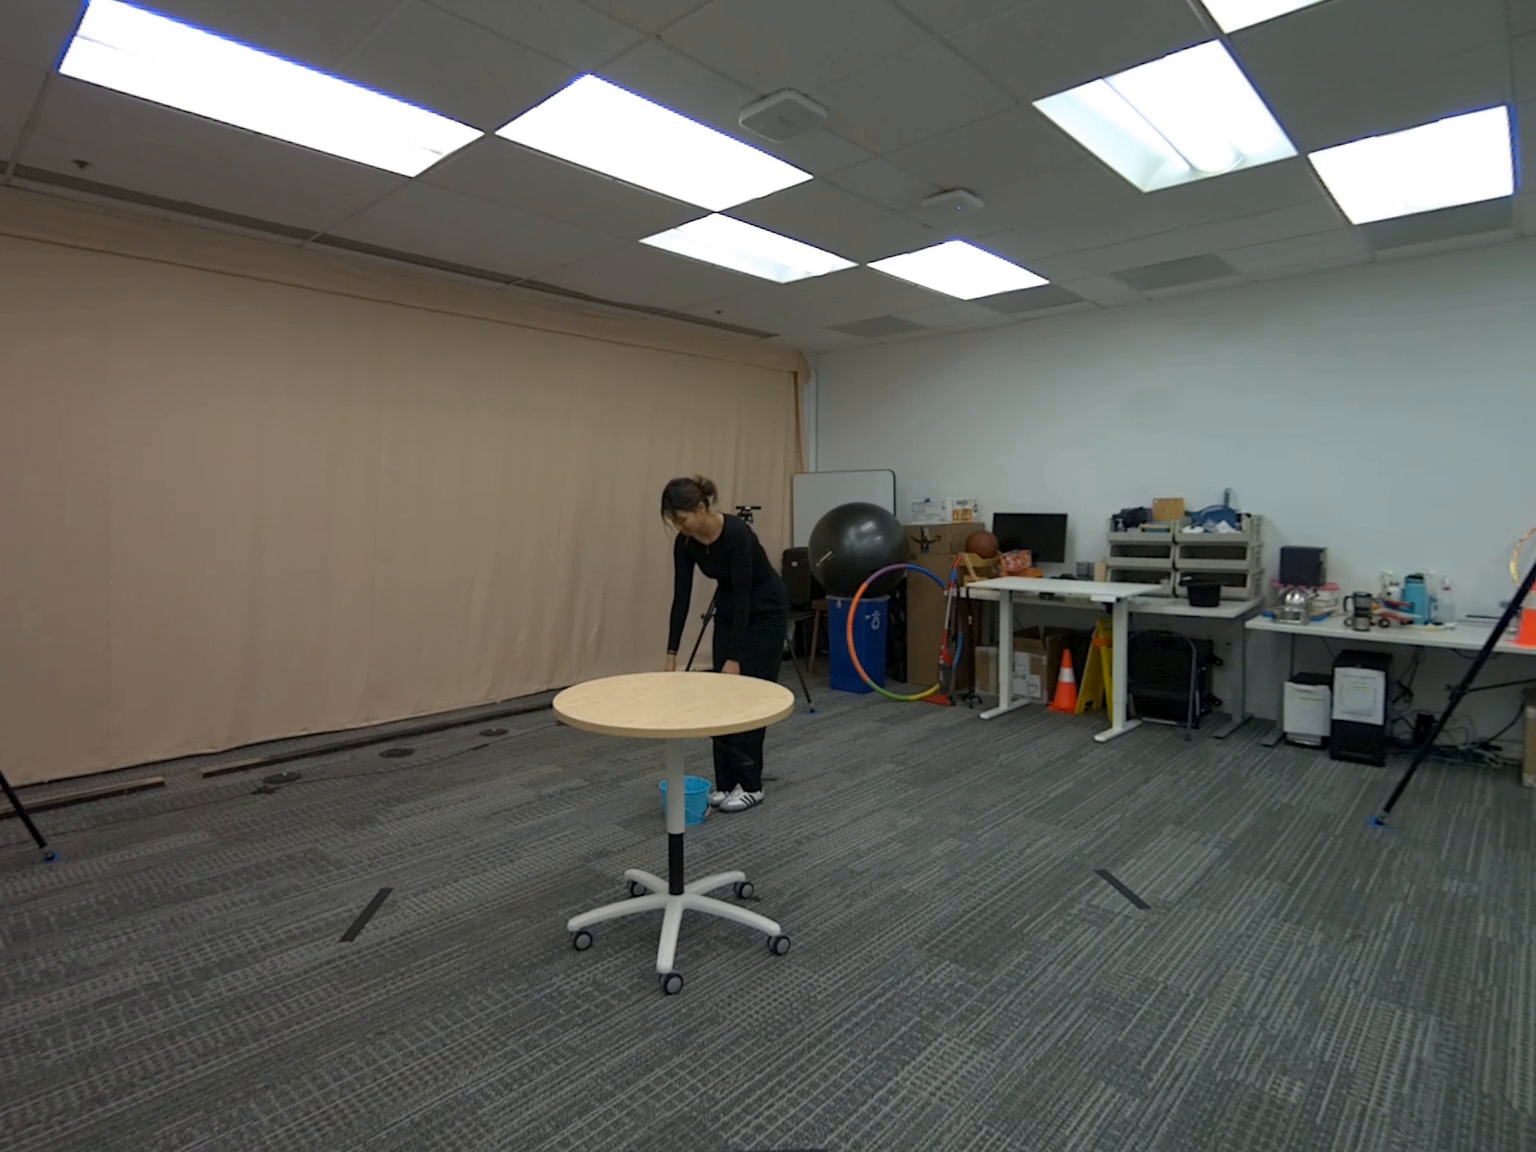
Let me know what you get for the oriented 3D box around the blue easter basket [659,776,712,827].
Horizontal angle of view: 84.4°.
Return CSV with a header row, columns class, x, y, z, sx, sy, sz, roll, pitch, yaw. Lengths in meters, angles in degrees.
class,x,y,z,sx,sy,sz,roll,pitch,yaw
blue easter basket,-0.365,1.010,3.768,0.243,0.156,0.244,-1,3,-2
